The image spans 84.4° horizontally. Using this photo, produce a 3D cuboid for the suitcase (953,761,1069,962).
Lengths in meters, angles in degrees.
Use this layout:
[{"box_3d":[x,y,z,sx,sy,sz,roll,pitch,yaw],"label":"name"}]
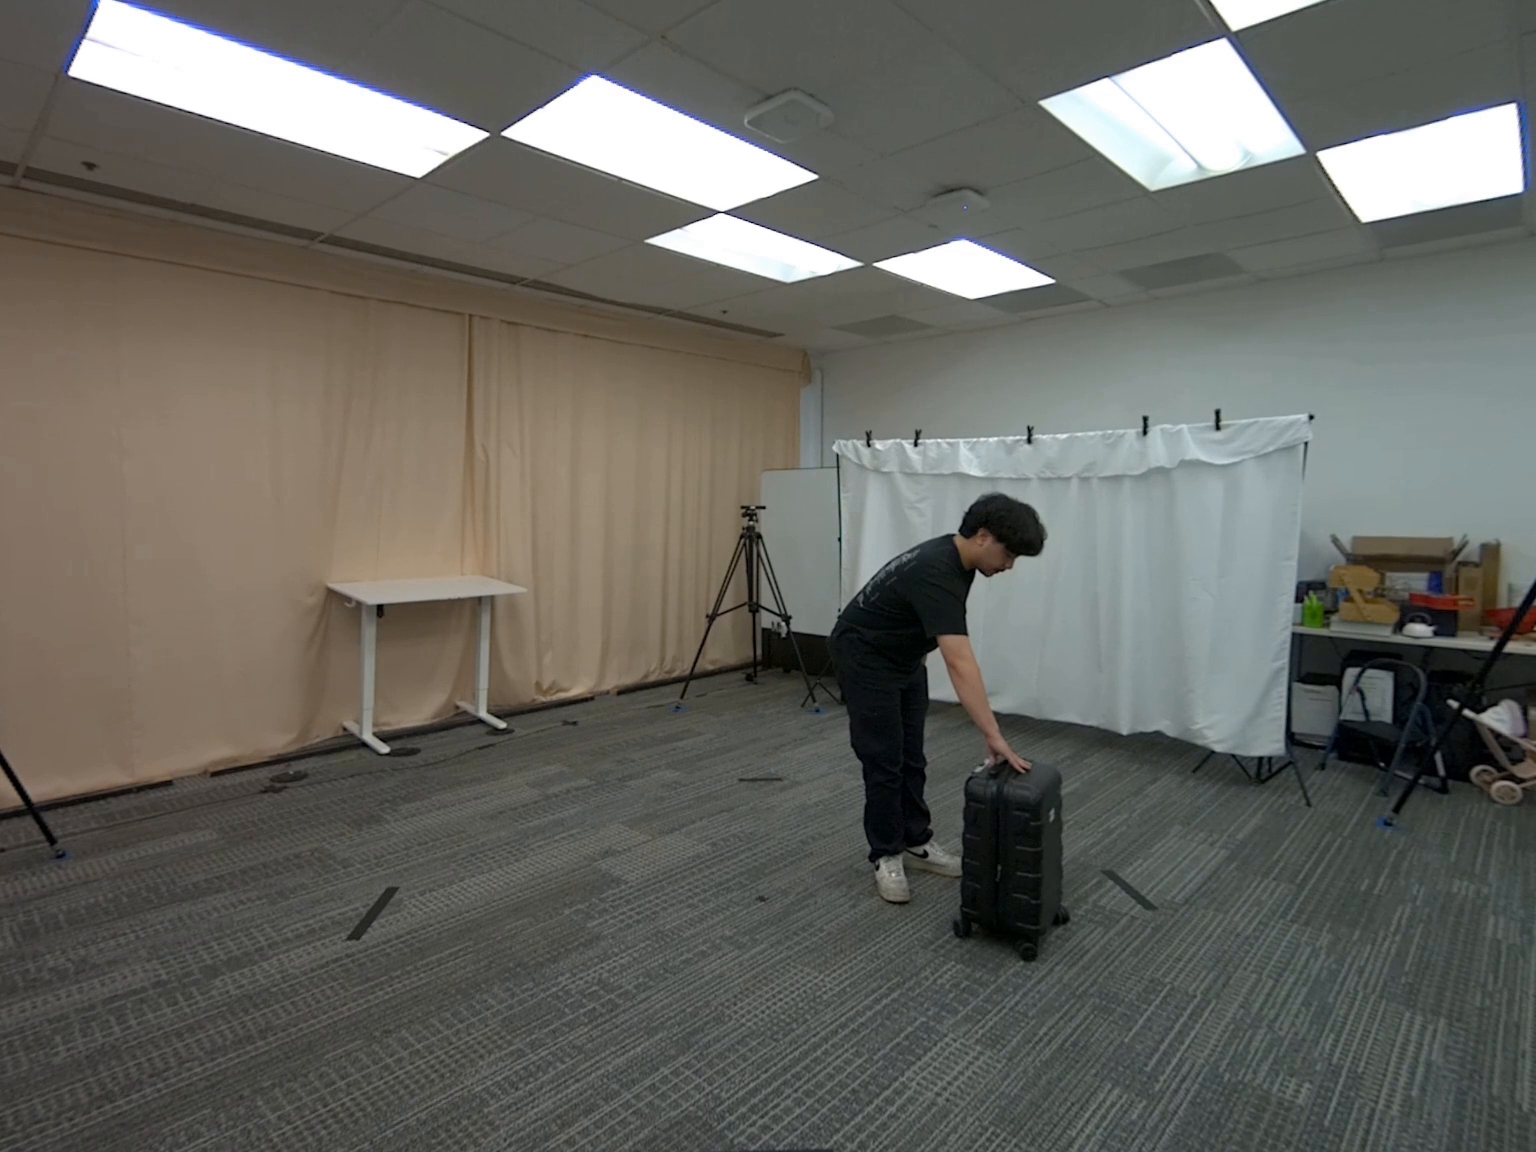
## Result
[{"box_3d":[0.812,0.887,2.749,0.256,0.548,0.365,3,4,34],"label":"suitcase"}]
